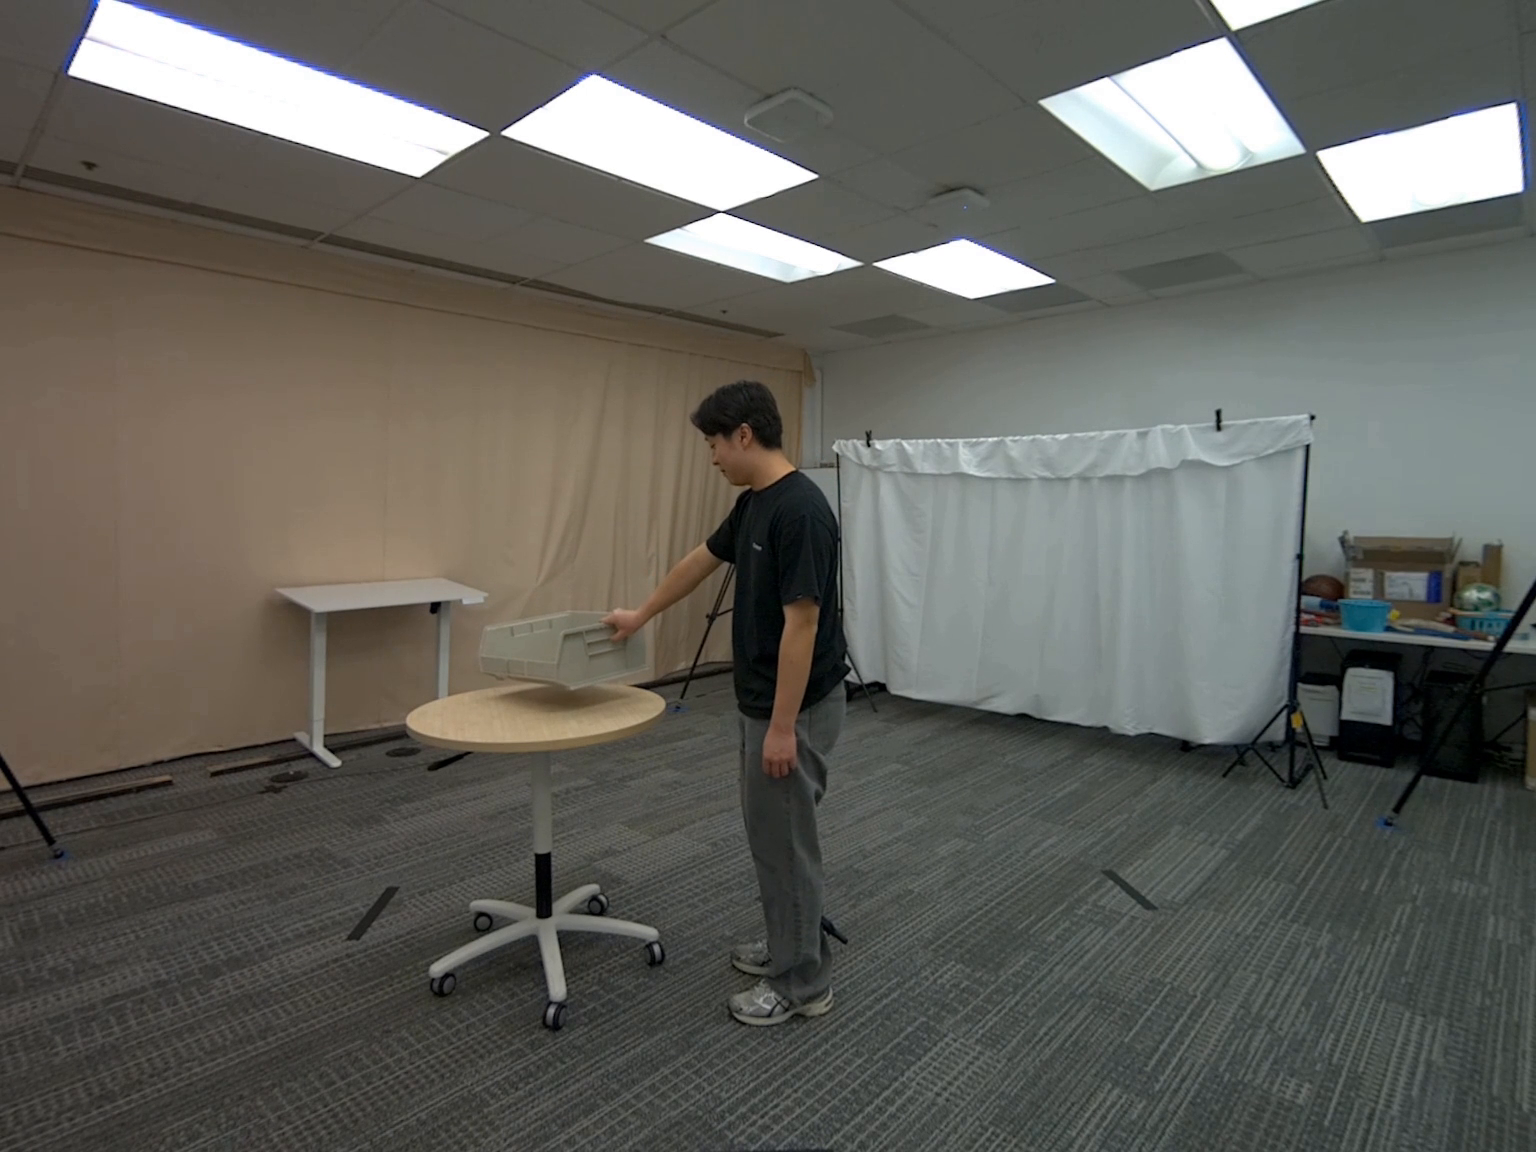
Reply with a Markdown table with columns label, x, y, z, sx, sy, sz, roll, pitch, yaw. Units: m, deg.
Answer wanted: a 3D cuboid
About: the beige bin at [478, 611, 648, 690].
| label | x | y | z | sx | sy | sz | roll | pitch | yaw |
| --- | --- | --- | --- | --- | --- | --- | --- | --- | --- |
| beige bin | -0.658 | 0.237 | 2.697 | 0.436 | 0.188 | 0.366 | -1 | 5 | 41 |
